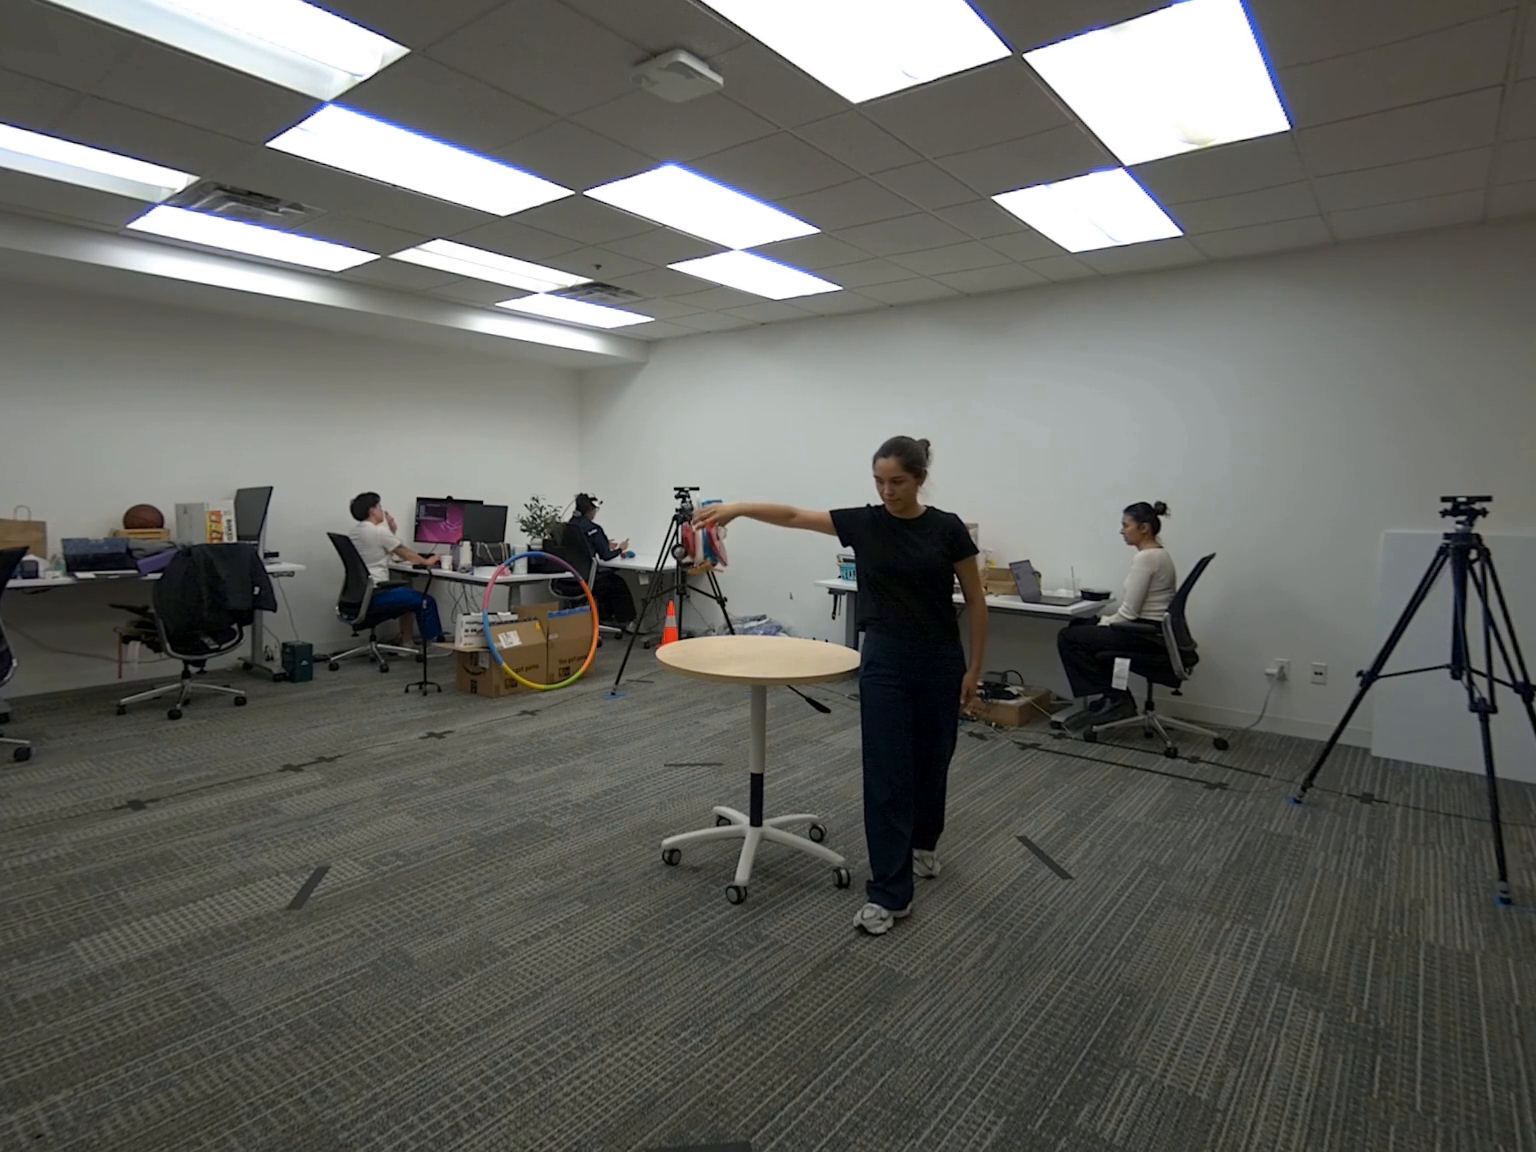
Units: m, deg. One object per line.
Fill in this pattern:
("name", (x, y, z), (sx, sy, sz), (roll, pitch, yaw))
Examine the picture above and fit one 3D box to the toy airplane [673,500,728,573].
("toy airplane", (-0.206, -0.146, 2.824), (0.159, 0.259, 0.247), (2, 3, 15))
